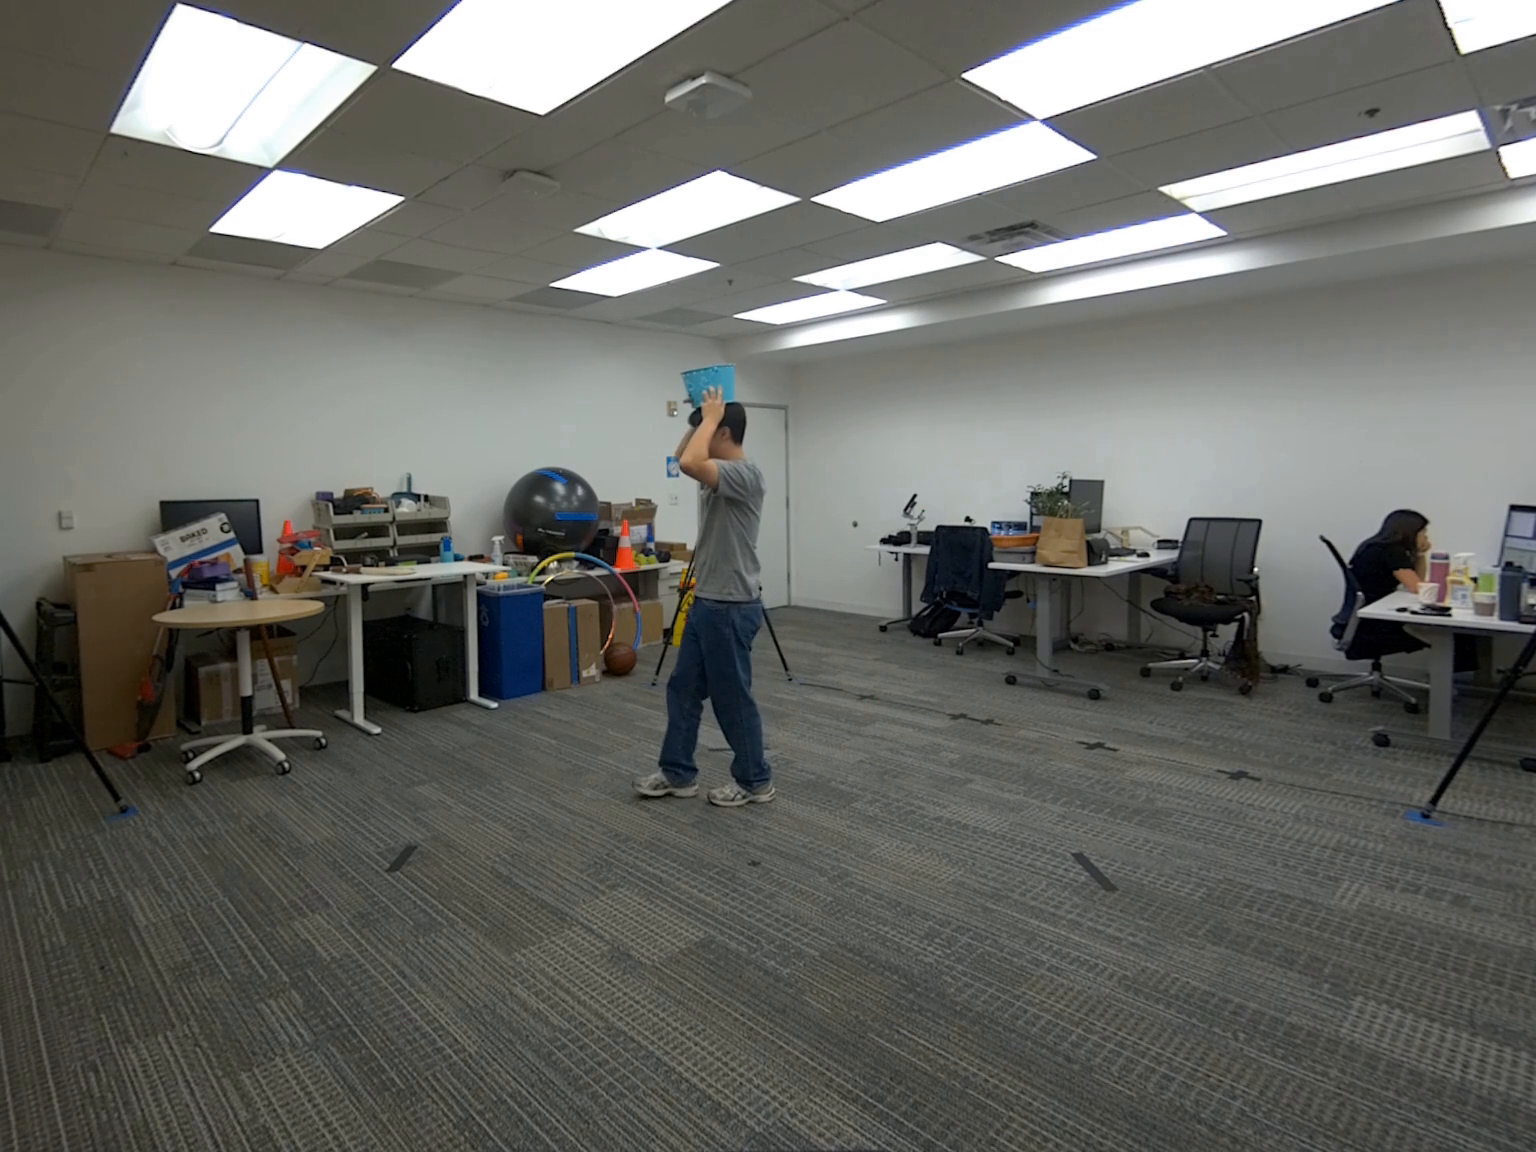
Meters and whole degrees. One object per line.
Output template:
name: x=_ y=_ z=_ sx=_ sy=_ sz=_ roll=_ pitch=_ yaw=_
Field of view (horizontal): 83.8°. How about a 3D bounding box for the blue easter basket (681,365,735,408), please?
blue easter basket: x=-0.246 y=-0.788 z=3.573 sx=0.244 sy=0.154 sz=0.246 roll=-12 pitch=9 yaw=0
